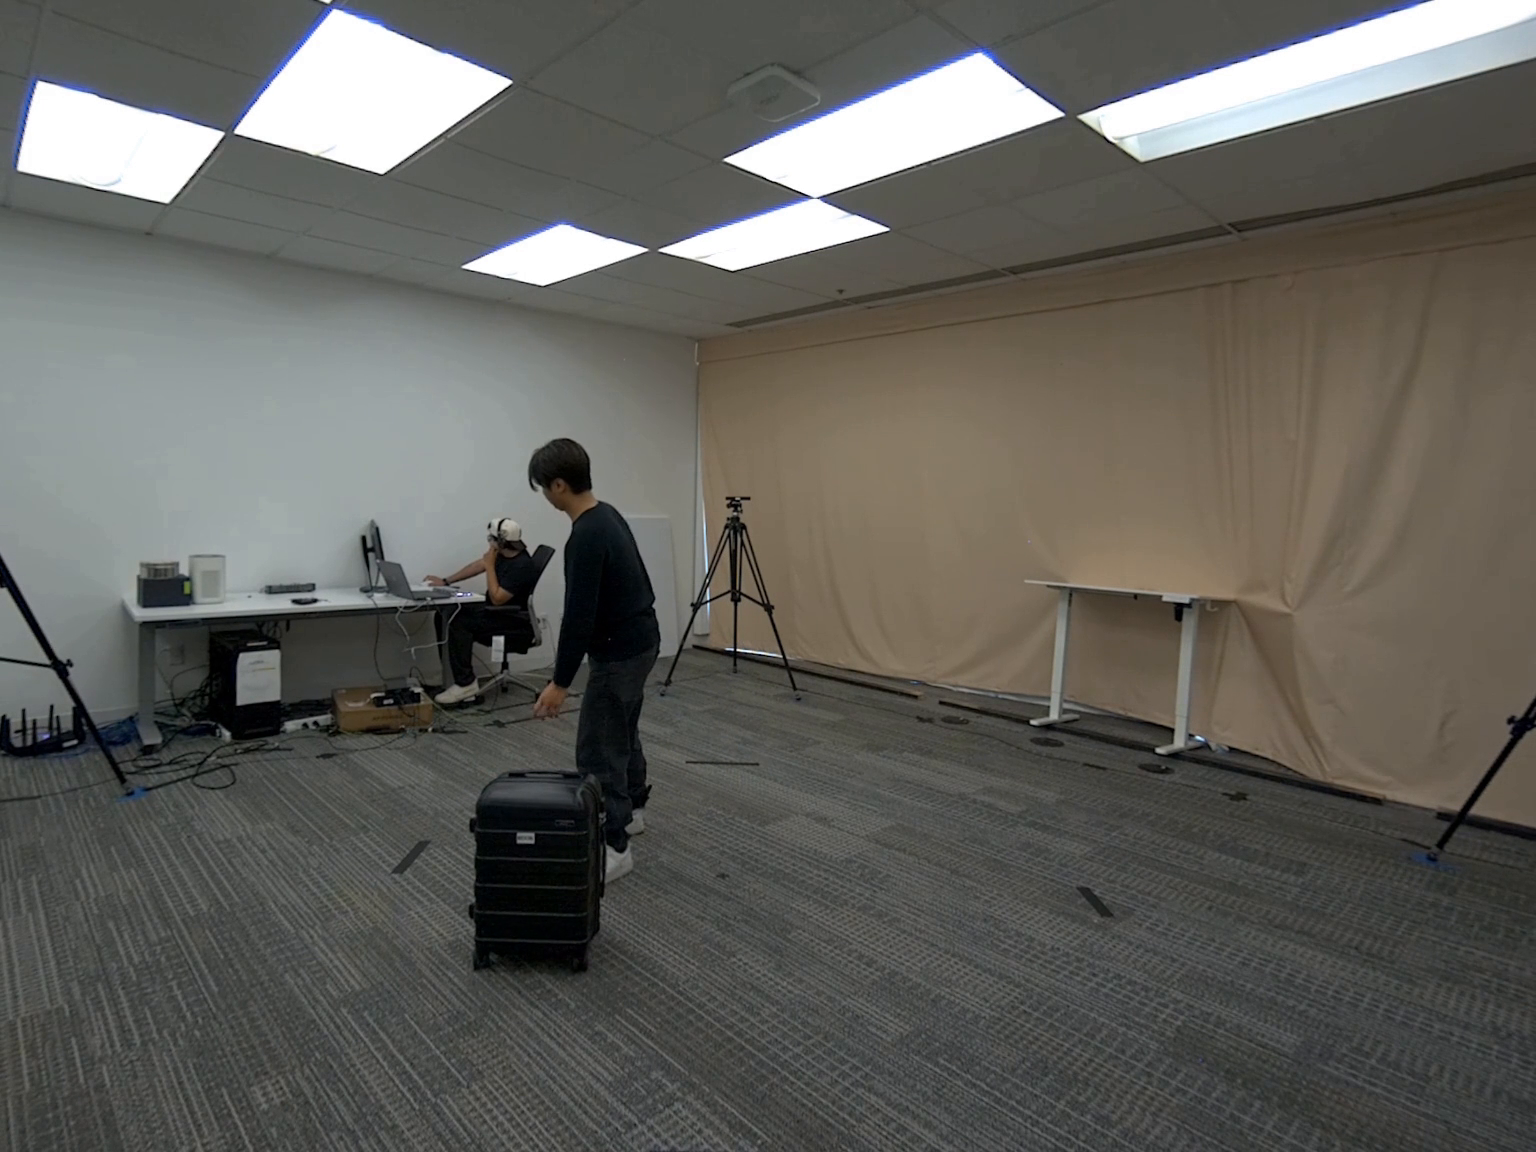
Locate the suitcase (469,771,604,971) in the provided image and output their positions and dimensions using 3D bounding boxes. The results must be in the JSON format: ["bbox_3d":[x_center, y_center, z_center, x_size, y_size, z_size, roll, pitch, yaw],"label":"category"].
[{"bbox_3d":[-0.697,0.876,2.537,0.376,0.547,0.249,2,6,1],"label":"suitcase"}]
